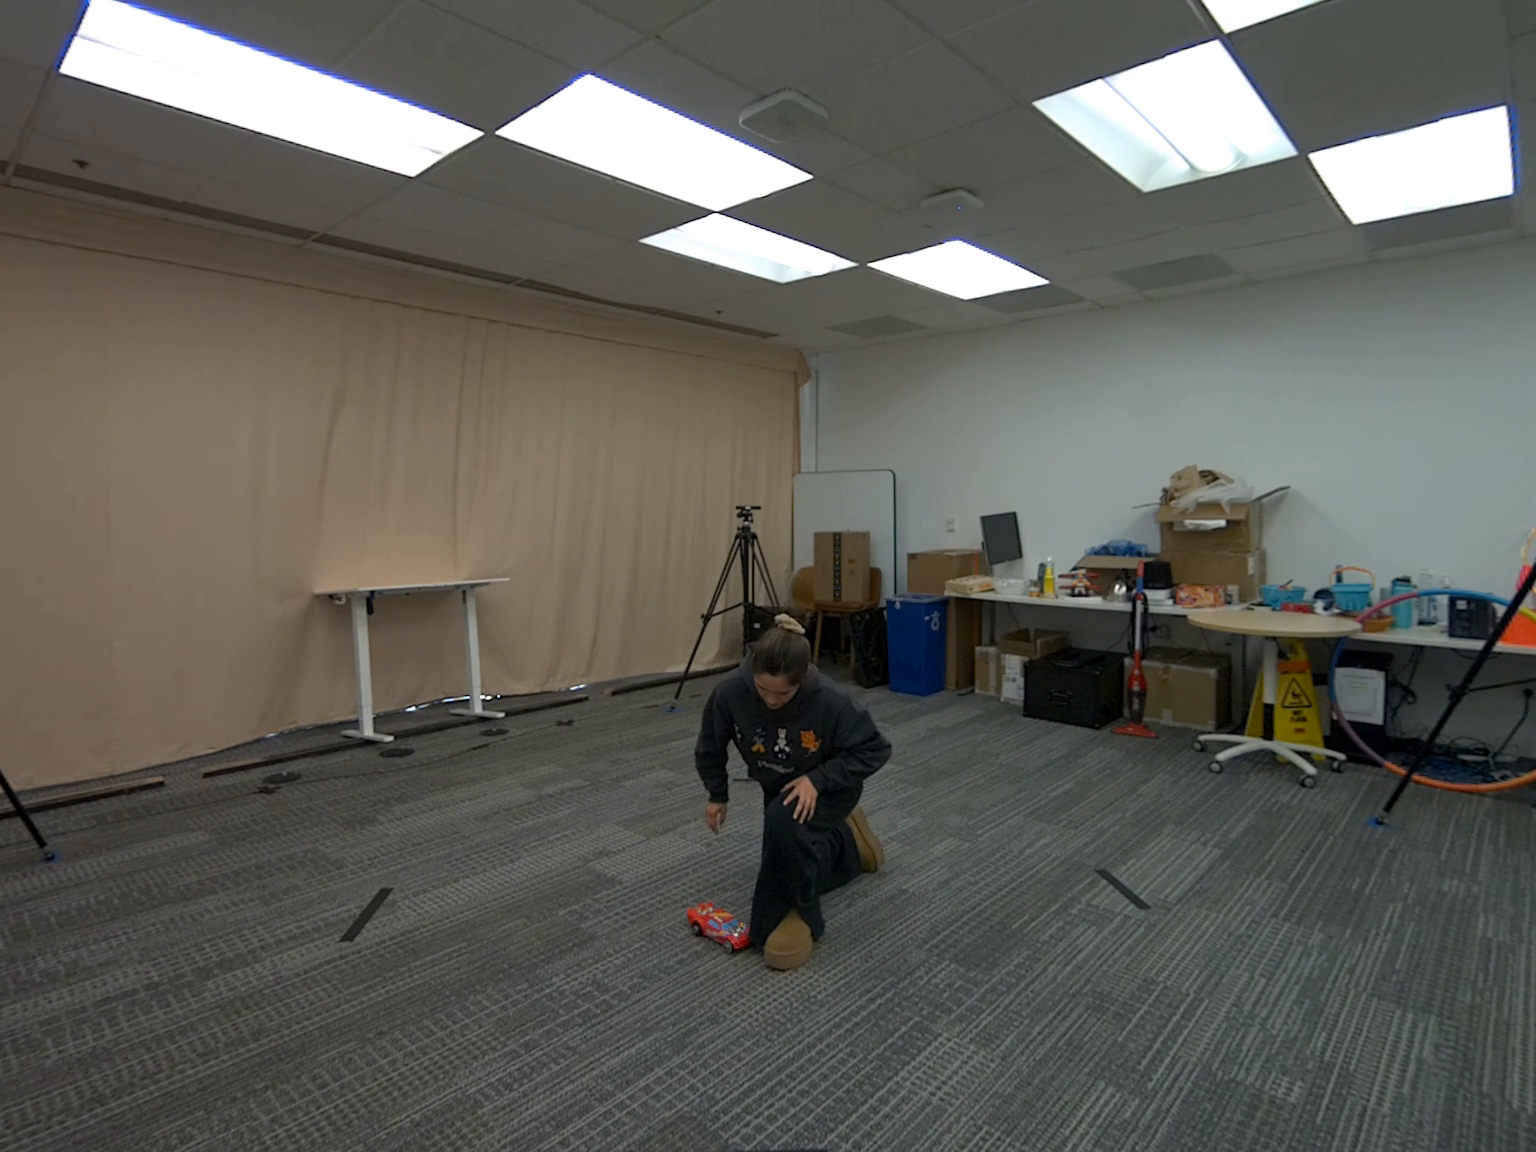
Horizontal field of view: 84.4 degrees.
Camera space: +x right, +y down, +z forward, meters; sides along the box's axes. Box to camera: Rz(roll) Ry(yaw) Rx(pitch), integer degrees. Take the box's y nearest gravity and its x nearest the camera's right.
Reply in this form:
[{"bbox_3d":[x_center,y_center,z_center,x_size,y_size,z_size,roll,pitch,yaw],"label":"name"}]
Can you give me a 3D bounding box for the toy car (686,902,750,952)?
[{"bbox_3d":[-0.133,1.132,2.724,0.126,0.083,0.264,-4,16,-44],"label":"toy car"}]
